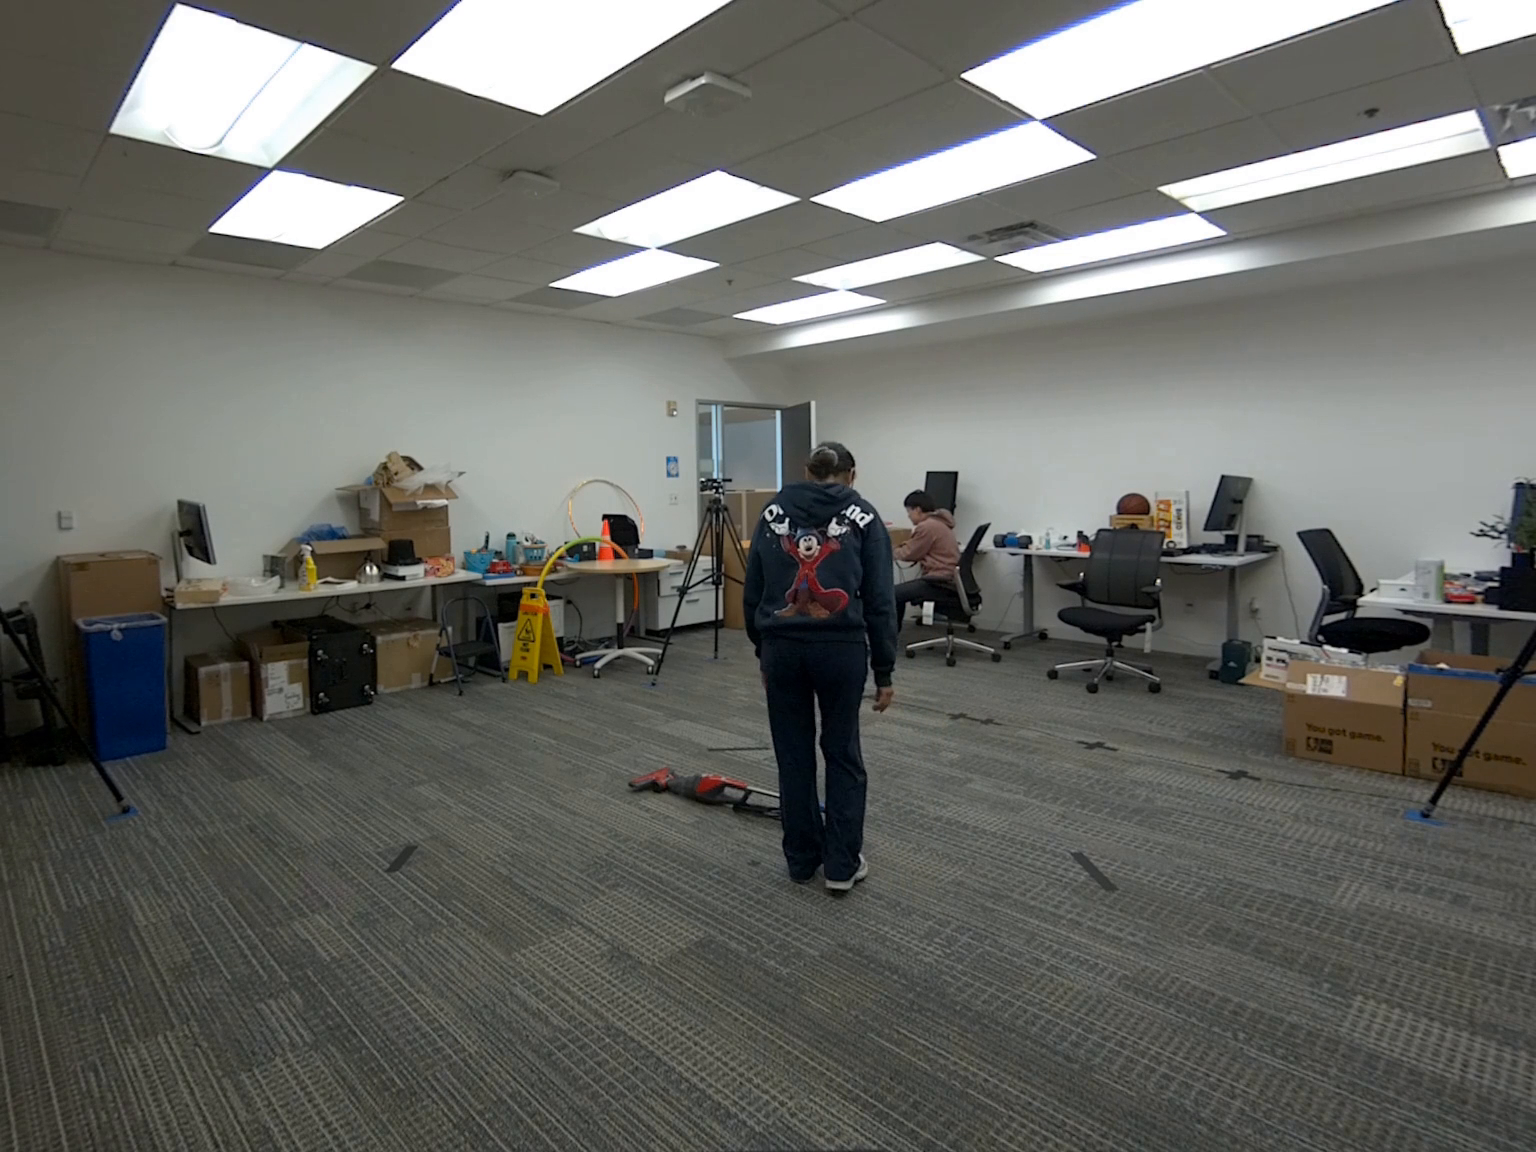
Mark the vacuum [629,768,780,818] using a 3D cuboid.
[{"bbox_3d":[-0.089,0.943,3.569,1.080,0.144,0.246,2,3,39],"label":"vacuum"}]
